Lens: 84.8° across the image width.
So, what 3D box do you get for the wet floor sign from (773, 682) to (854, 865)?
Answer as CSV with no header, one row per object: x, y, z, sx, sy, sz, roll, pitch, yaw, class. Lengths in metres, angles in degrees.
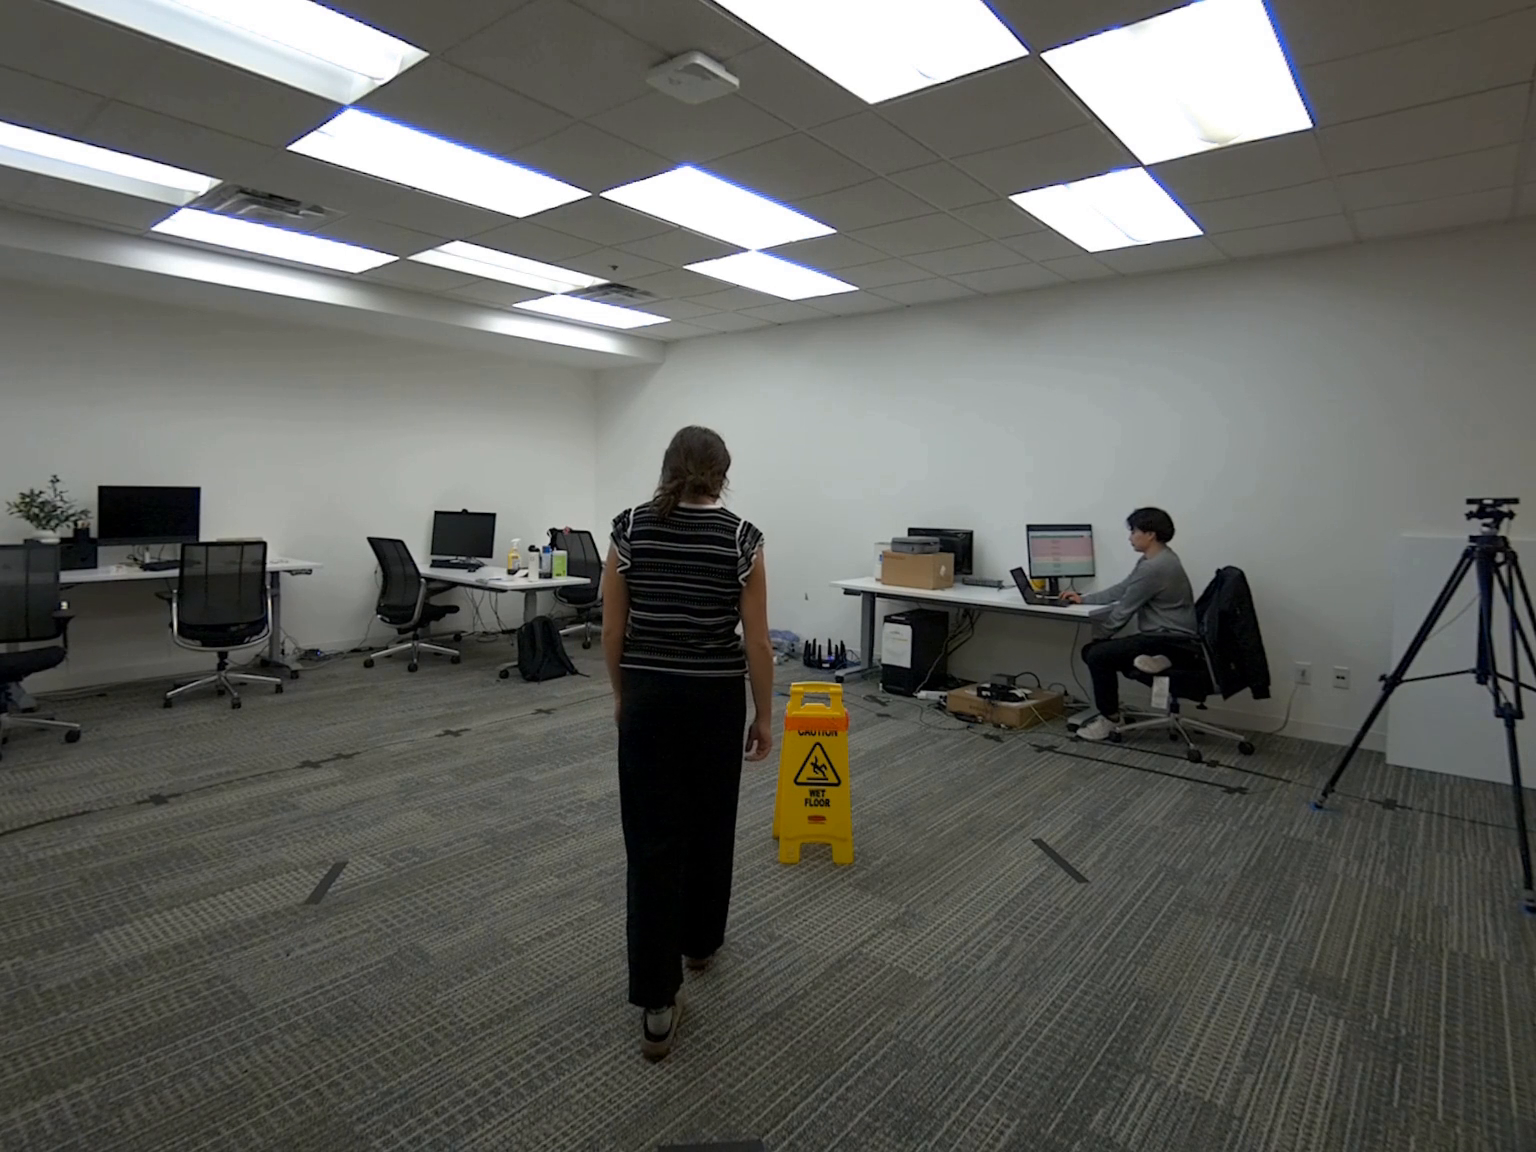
0.167,0.735,3.275,0.281,0.643,0.292,0,5,-4,wet floor sign
